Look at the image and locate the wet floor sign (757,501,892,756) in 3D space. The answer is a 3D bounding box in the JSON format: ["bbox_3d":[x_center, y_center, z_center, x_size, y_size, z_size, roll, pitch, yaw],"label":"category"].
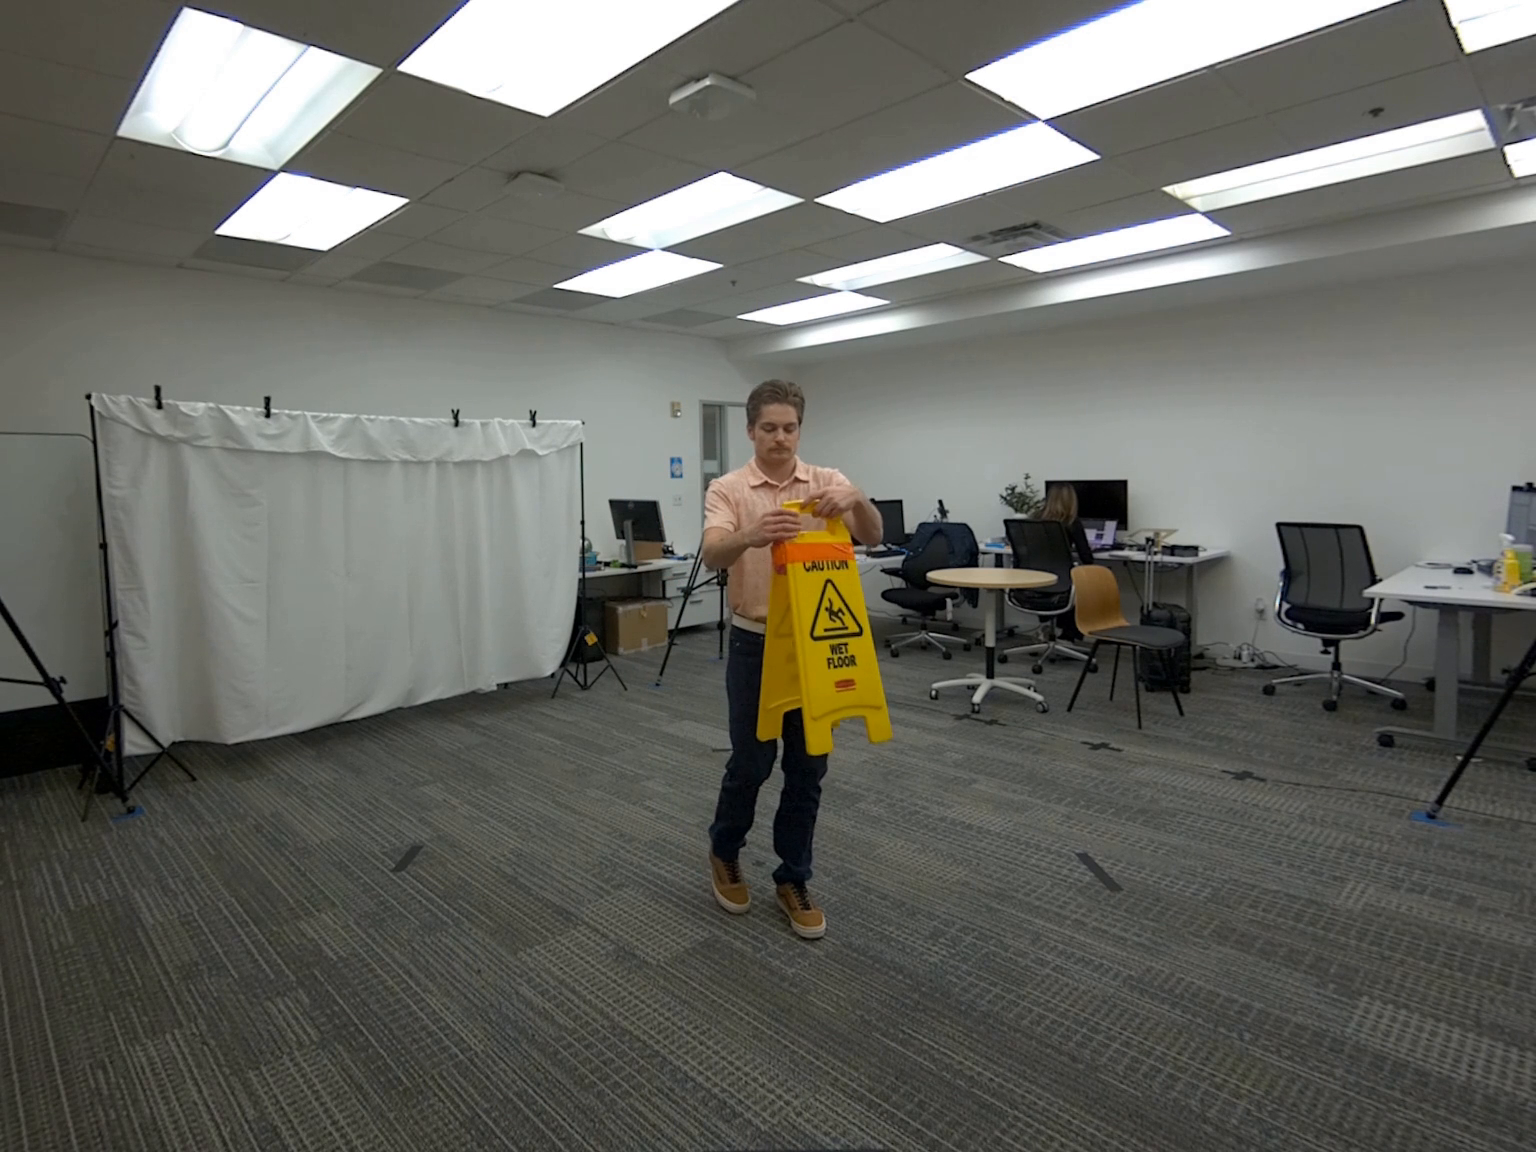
[{"bbox_3d":[0.133,0.126,2.323,0.275,0.647,0.297,-2,-1,-33],"label":"wet floor sign"}]
